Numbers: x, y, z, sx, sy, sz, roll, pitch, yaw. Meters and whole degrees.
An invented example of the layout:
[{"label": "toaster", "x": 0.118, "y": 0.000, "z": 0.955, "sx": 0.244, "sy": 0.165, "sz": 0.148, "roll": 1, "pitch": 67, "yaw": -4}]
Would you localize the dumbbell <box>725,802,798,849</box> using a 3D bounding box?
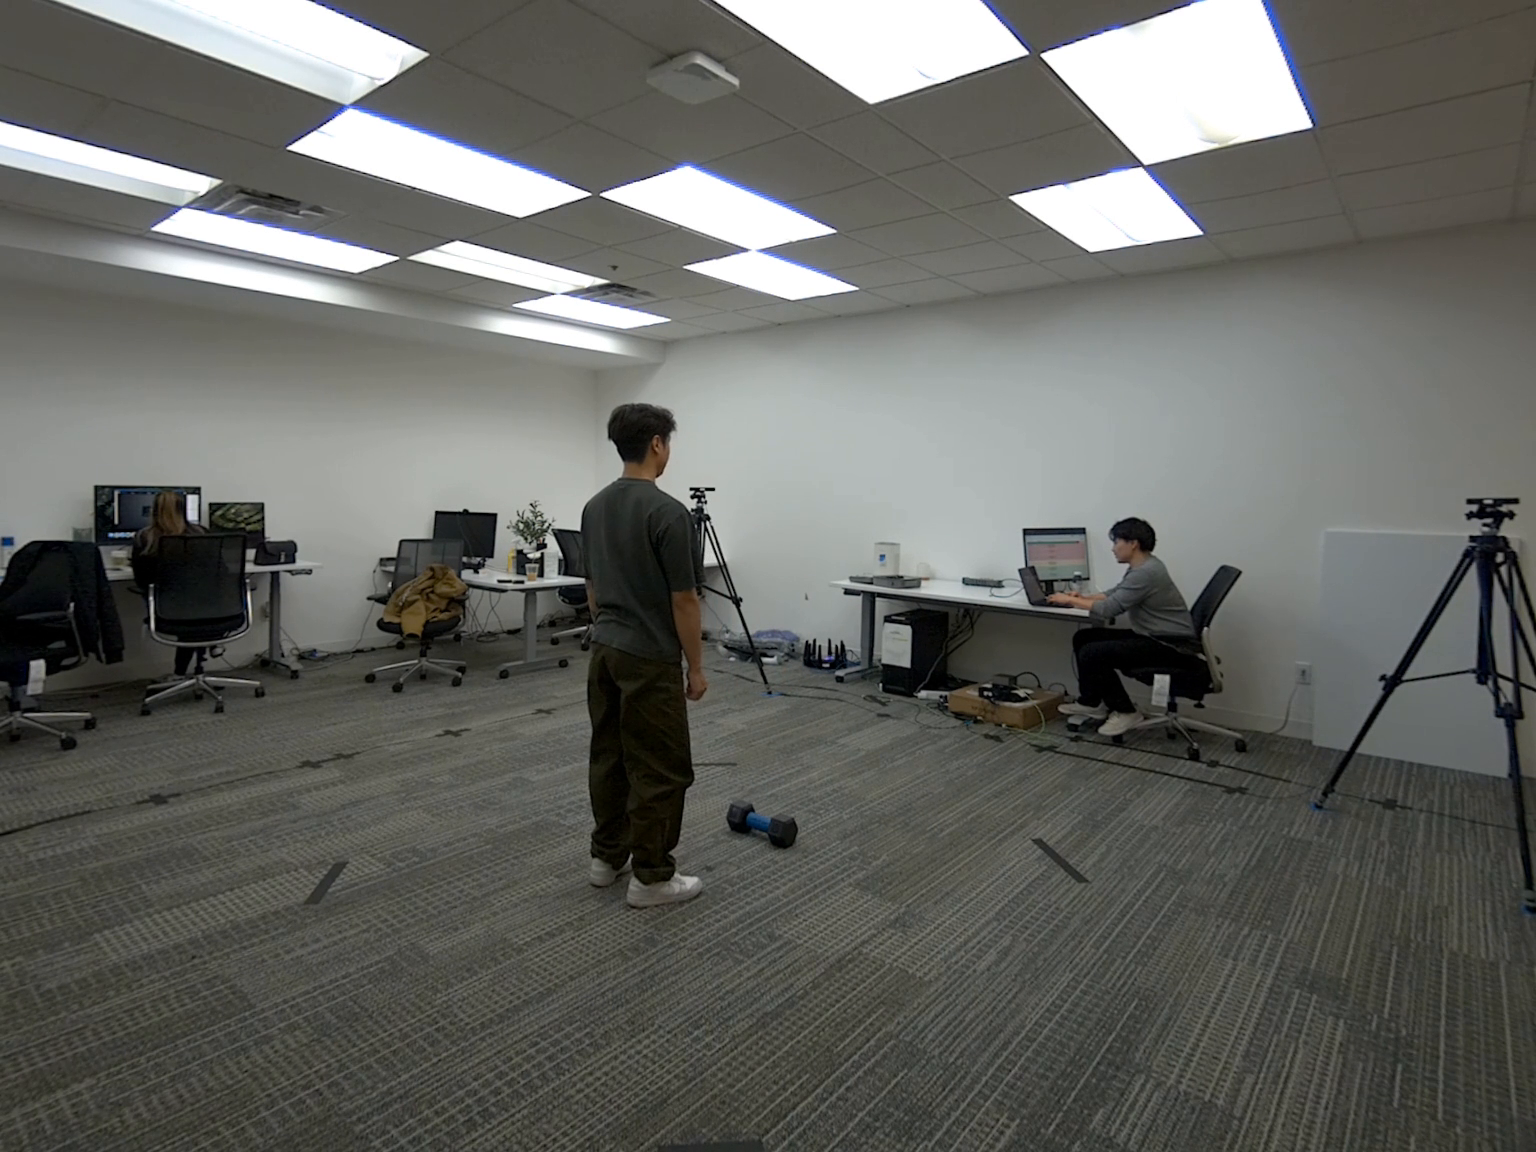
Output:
[{"label": "dumbbell", "x": -0.035, "y": 0.986, "z": 3.404, "sx": 0.303, "sy": 0.124, "sz": 0.104, "roll": 5, "pitch": -25, "yaw": 40}]
